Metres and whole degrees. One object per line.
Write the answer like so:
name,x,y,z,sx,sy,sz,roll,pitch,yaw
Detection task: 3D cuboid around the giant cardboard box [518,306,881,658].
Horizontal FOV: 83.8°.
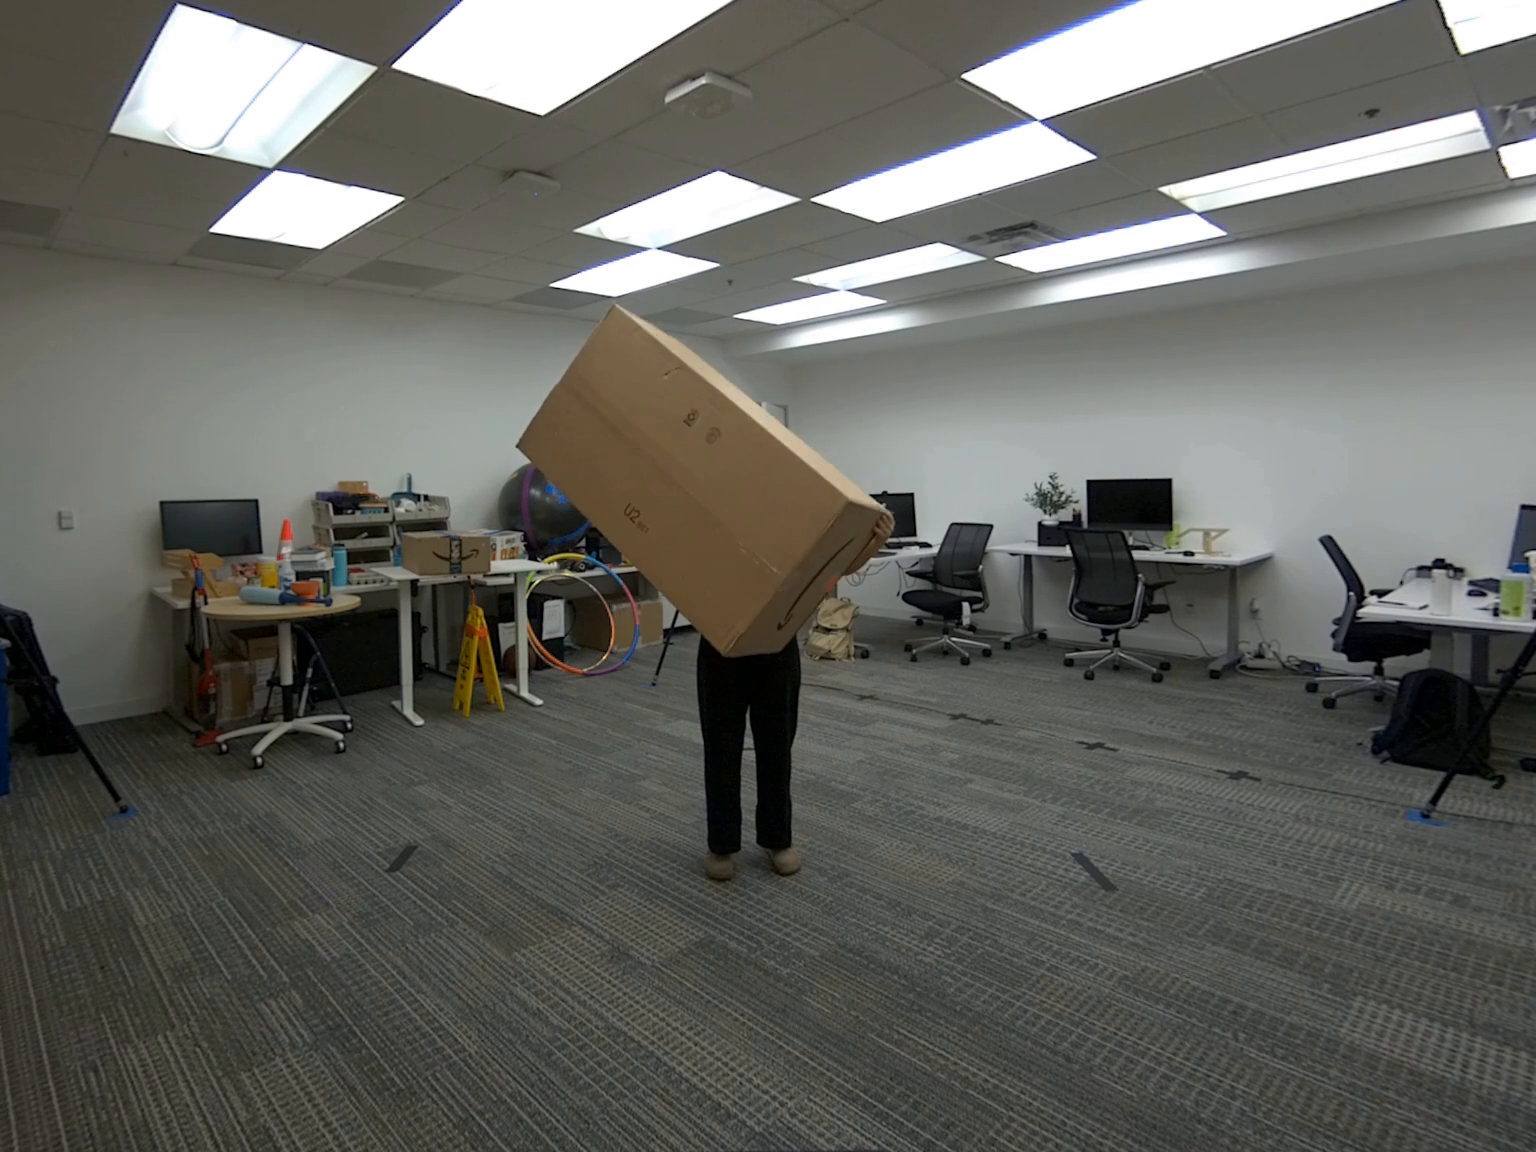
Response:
giant cardboard box,-0.221,-0.300,2.733,1.054,0.576,0.415,43,13,21
